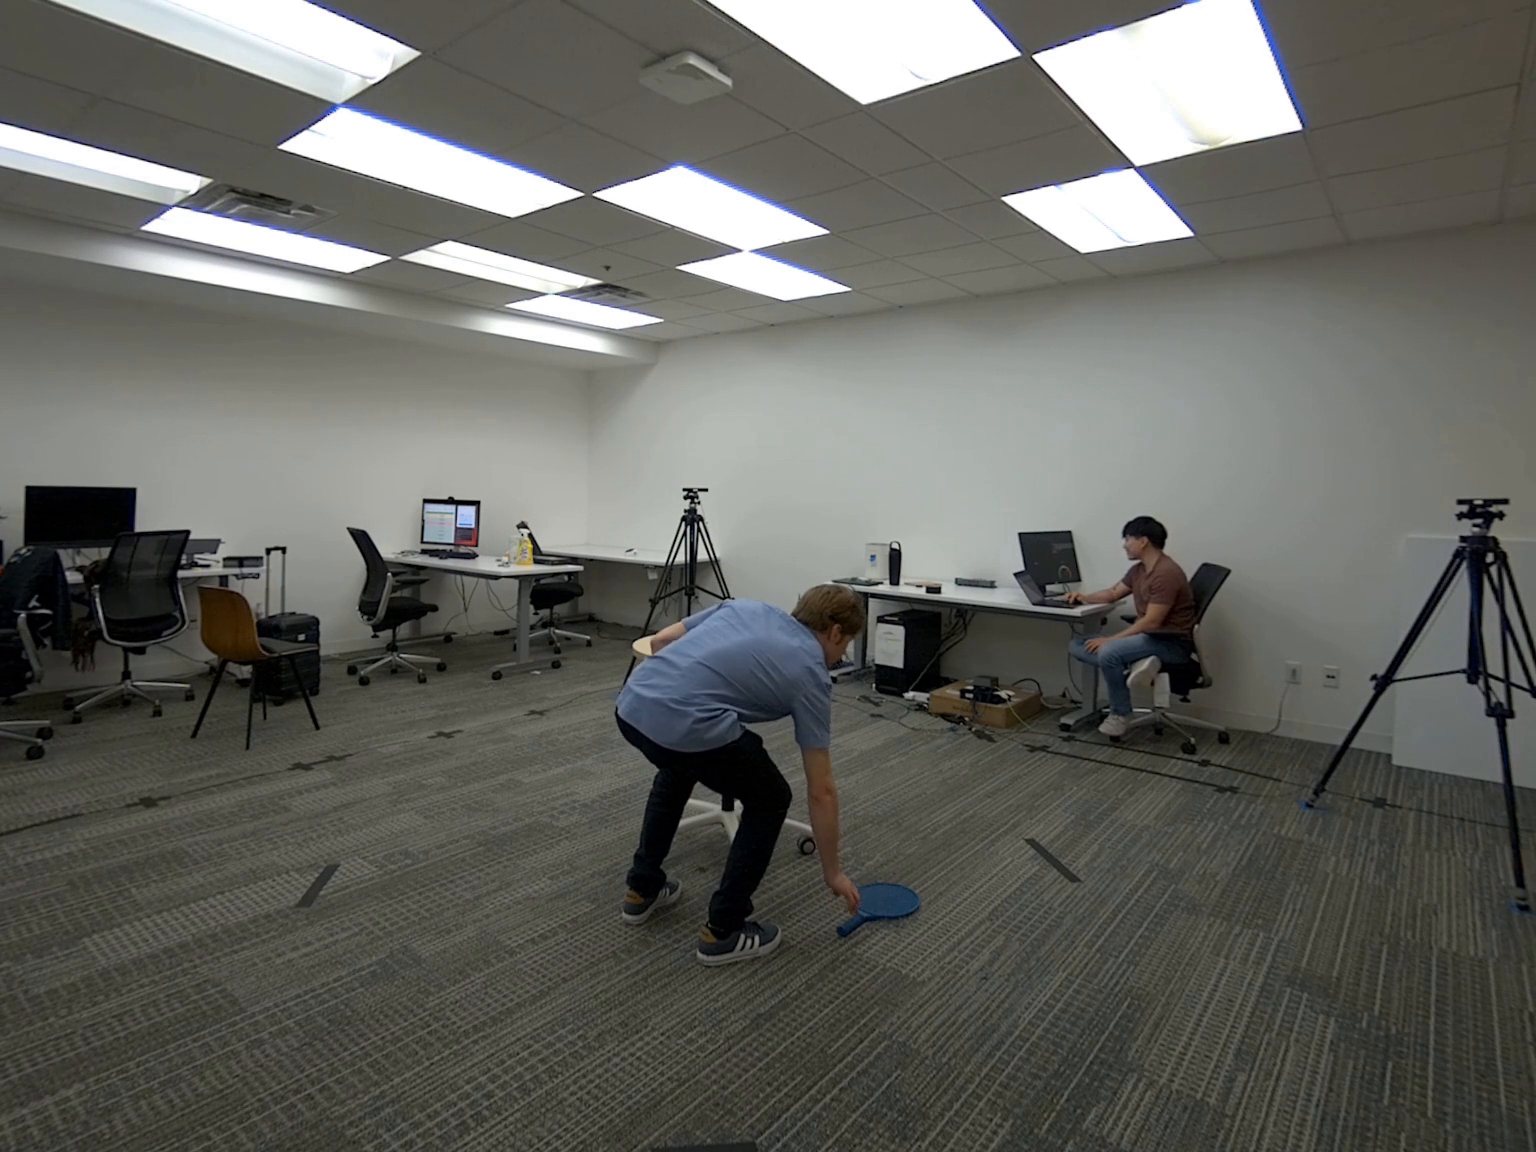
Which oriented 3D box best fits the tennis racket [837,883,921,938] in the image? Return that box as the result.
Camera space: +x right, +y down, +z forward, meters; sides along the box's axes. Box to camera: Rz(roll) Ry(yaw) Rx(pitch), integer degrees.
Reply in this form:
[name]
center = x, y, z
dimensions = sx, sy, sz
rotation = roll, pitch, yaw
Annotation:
[tennis racket]
center = 0.346, 1.096, 2.825
dimensions = 0.221, 0.031, 0.420
rotation = 6, 6, 35
